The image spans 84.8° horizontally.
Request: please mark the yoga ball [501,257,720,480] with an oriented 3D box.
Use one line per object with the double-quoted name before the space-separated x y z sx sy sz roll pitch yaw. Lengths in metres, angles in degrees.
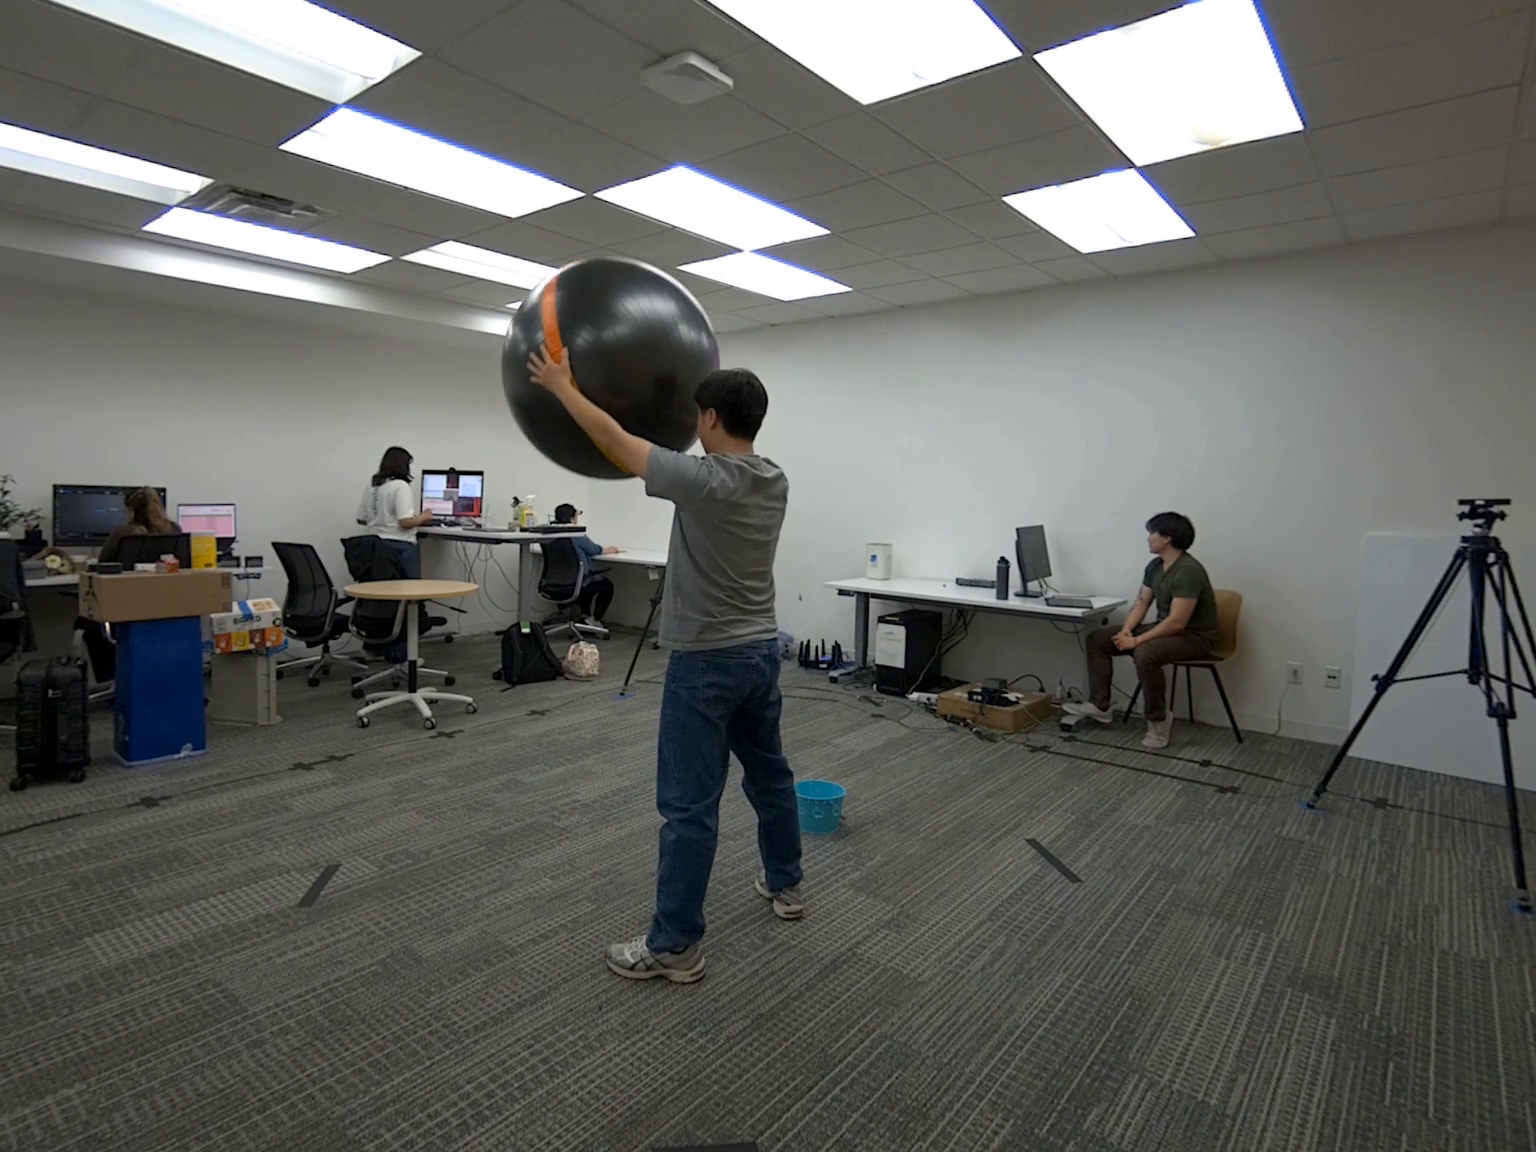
"yoga ball" -0.560 -0.687 2.976 0.757 0.755 0.762 1 4 -2
